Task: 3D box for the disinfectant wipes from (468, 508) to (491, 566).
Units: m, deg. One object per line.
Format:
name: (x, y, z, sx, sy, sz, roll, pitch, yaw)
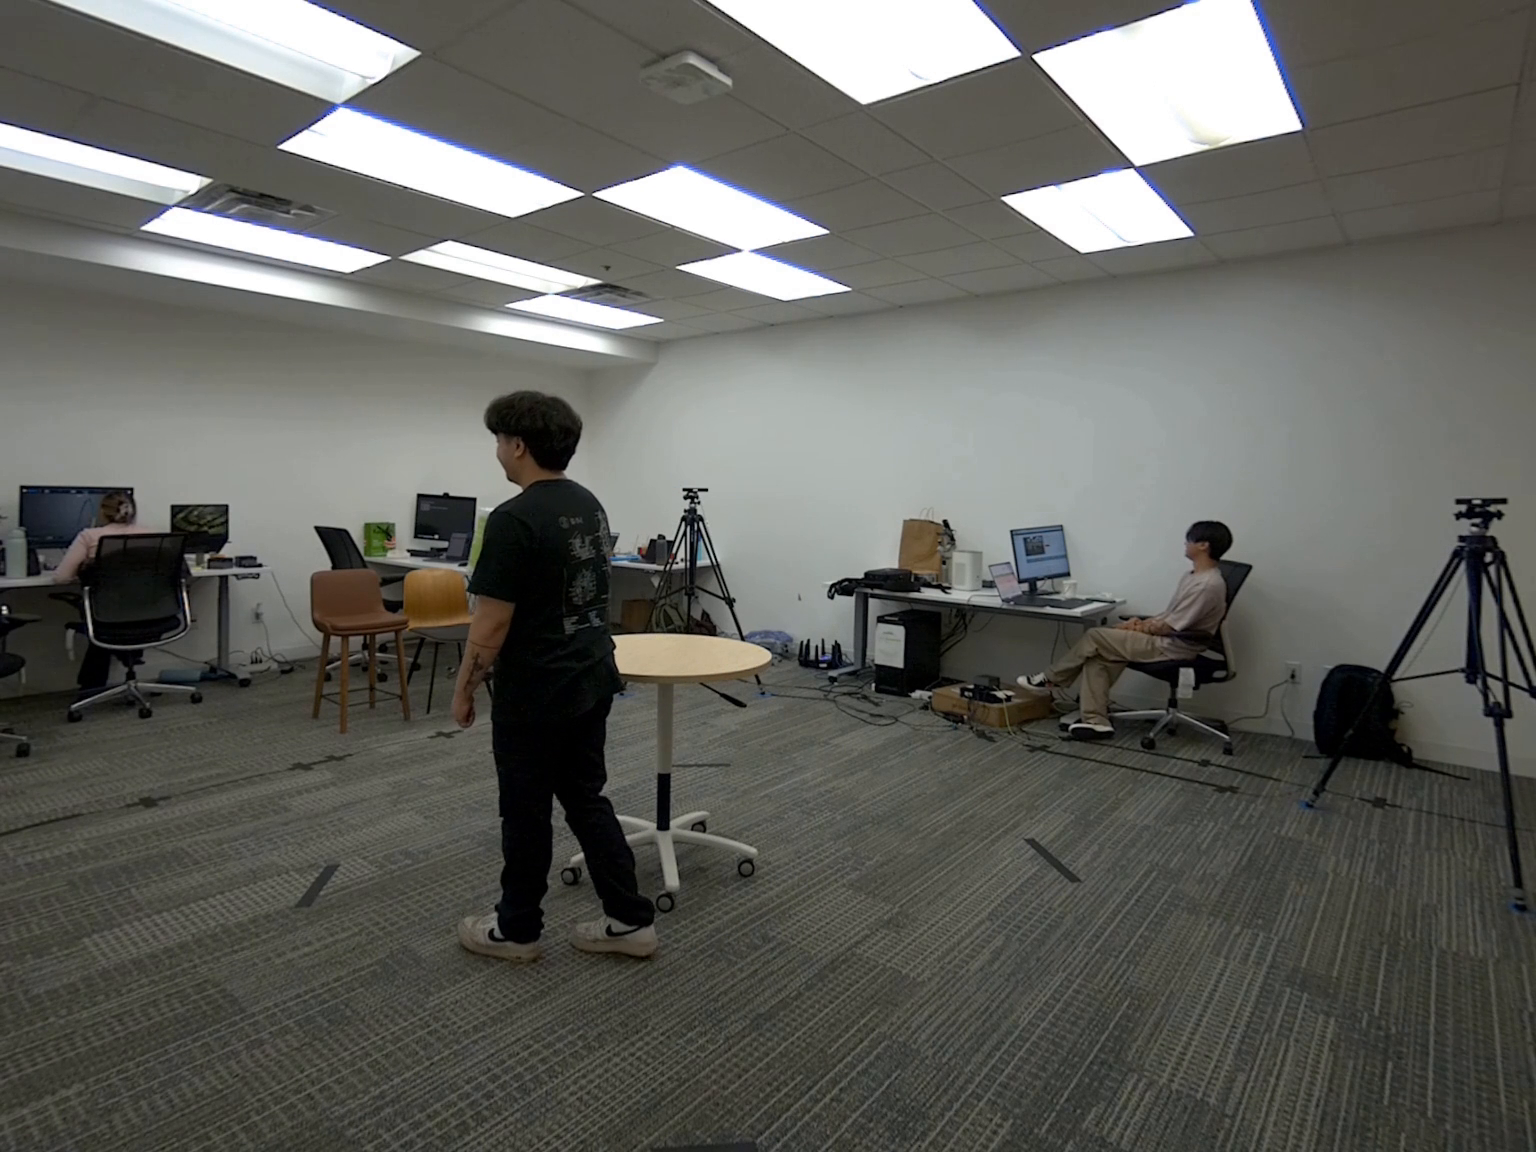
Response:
disinfectant wipes: (-0.918, -0.113, 2.805, 0.117, 0.217, 0.118, 12, 2, -2)
